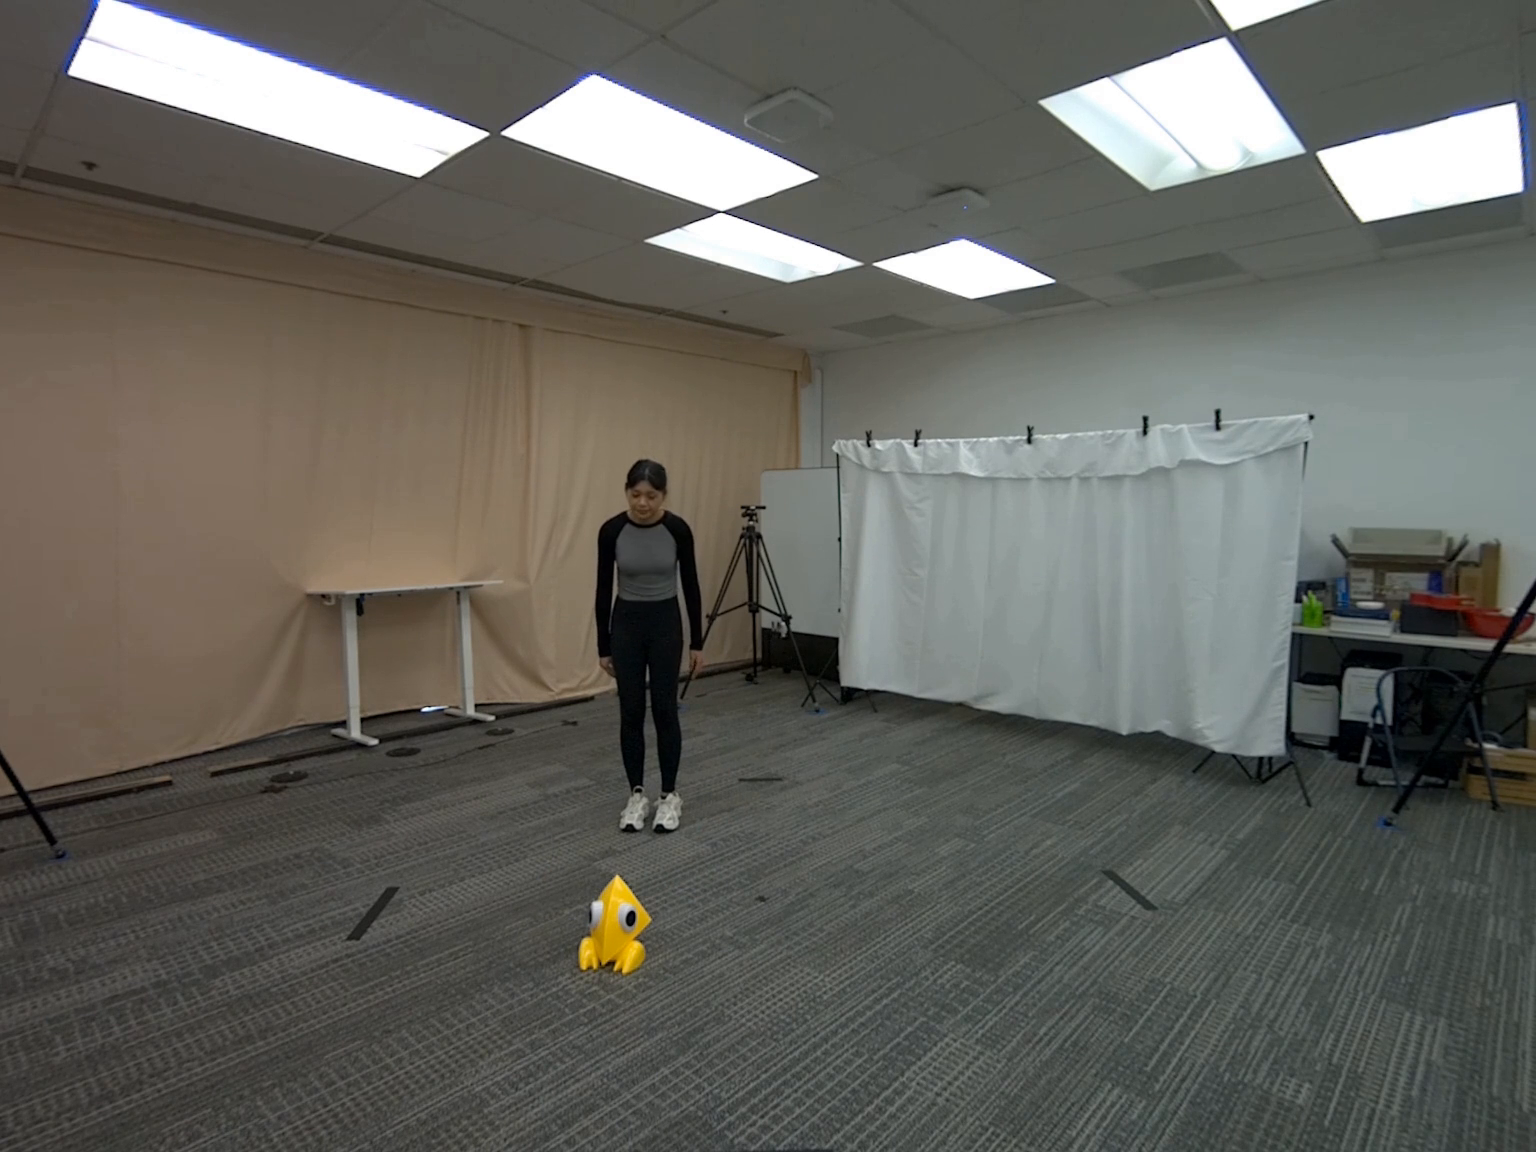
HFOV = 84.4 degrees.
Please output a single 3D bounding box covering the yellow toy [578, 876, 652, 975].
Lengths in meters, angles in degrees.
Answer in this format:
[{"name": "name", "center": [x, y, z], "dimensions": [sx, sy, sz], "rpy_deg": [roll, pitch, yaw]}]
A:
[{"name": "yellow toy", "center": [-0.476, 1.067, 2.595], "dimensions": [0.207, 0.230, 0.191], "rpy_deg": [1, 2, 8]}]
